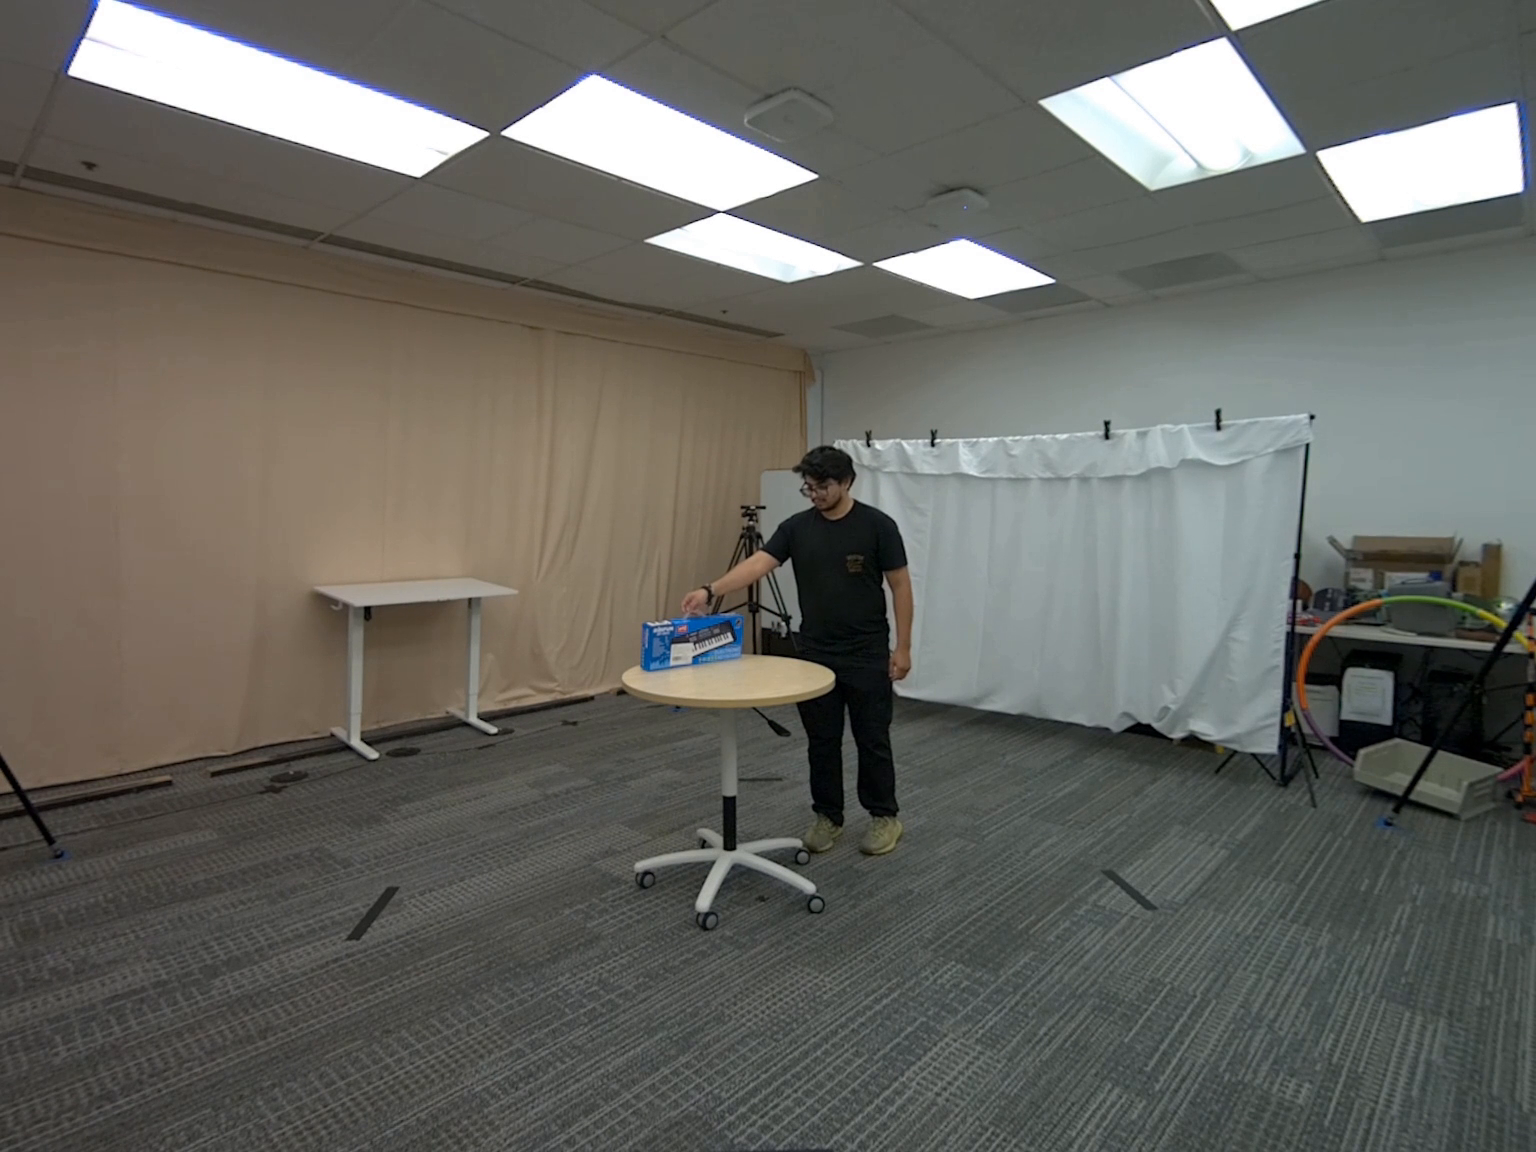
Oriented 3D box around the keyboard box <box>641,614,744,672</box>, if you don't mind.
[{"bbox_3d":[-0.285,0.252,3.236,0.424,0.175,0.061,-4,12,-38],"label":"keyboard box"}]
